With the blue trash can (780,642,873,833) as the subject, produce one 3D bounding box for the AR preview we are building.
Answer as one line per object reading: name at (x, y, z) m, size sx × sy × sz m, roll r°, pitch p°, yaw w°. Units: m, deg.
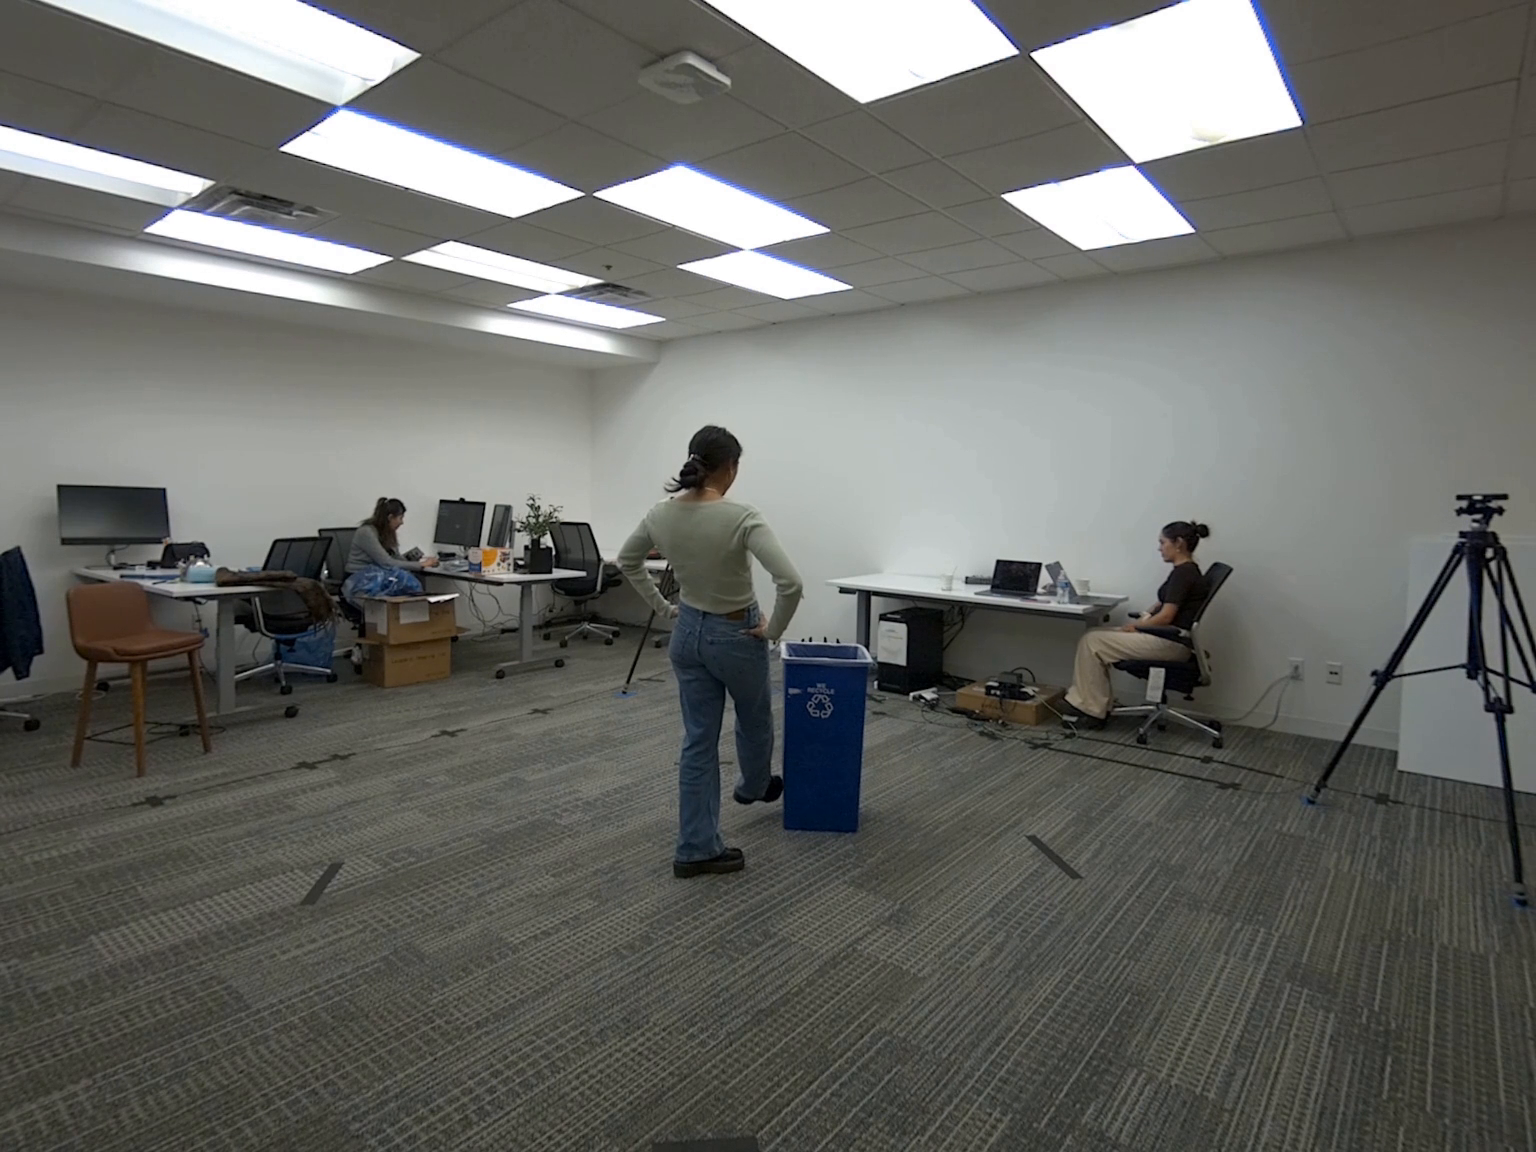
blue trash can at (0.220, 0.667, 3.590) m, size 0.379 × 0.712 × 0.374 m, roll 2°, pitch 3°, yaw 2°
